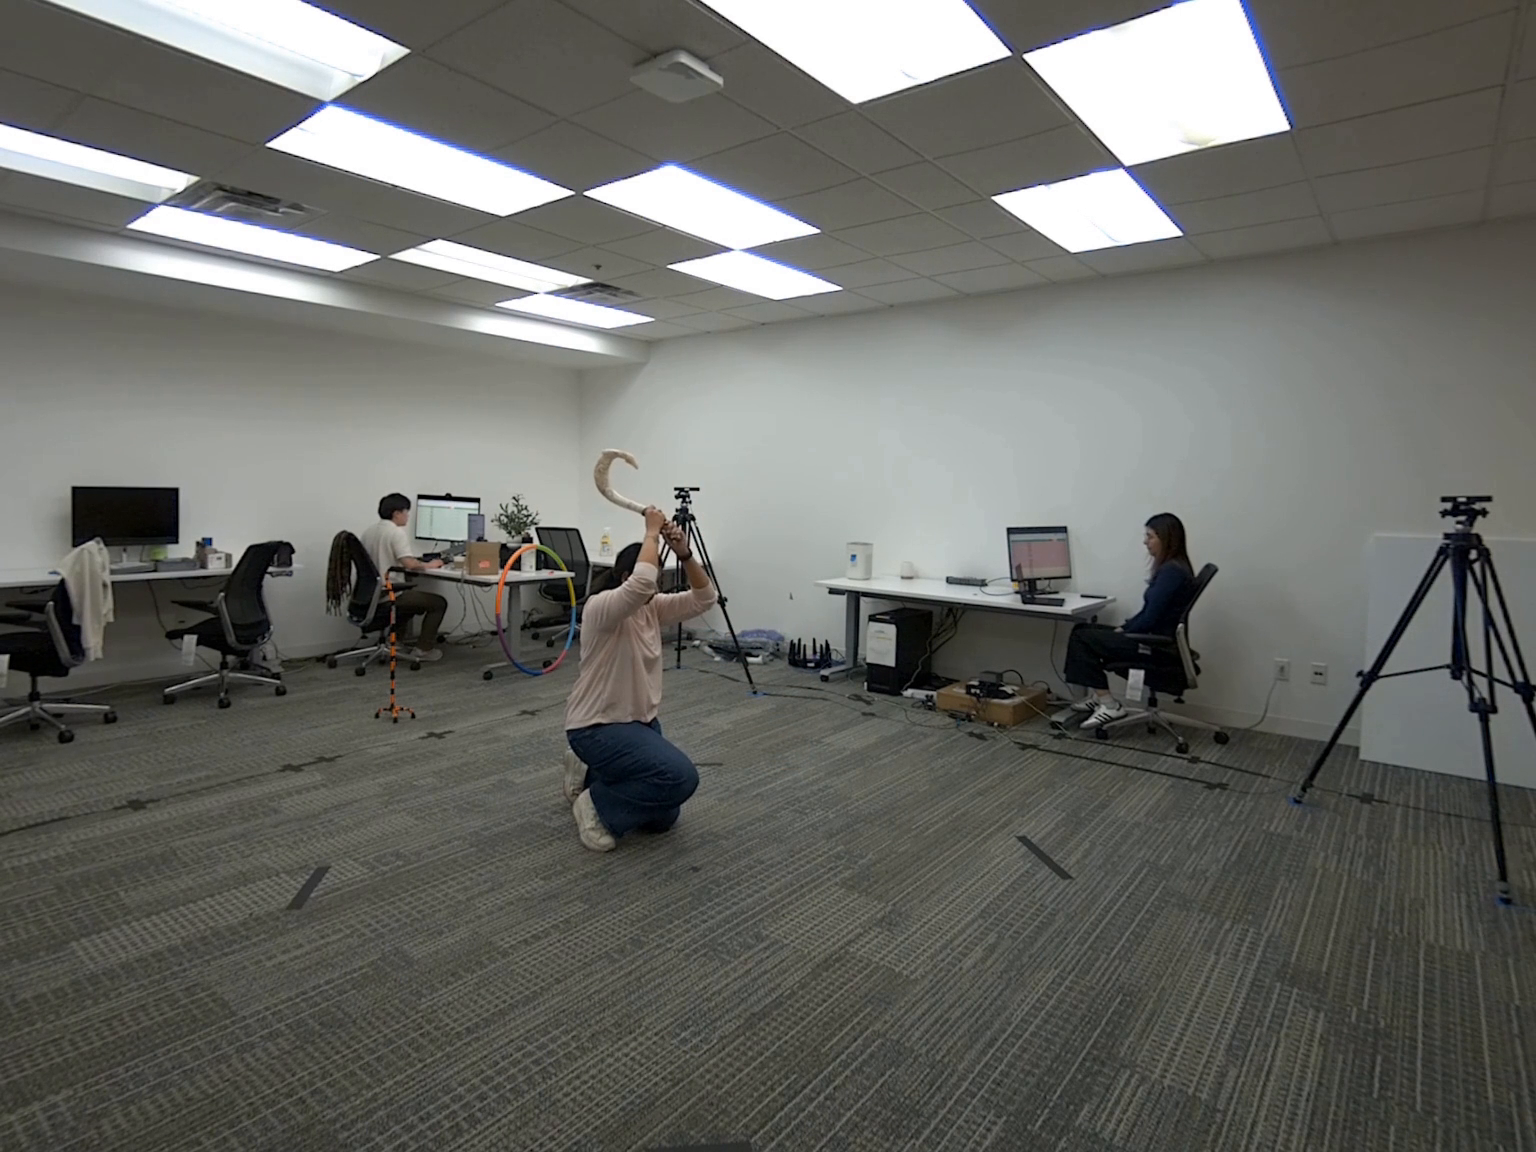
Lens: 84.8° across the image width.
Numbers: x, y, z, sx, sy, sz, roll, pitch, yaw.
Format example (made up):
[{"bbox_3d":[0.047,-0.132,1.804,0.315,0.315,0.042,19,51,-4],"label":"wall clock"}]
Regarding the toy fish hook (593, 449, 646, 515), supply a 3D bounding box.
[{"bbox_3d":[-0.516,-0.331,3.399,0.522,0.222,0.047,40,30,21],"label":"toy fish hook"}]
